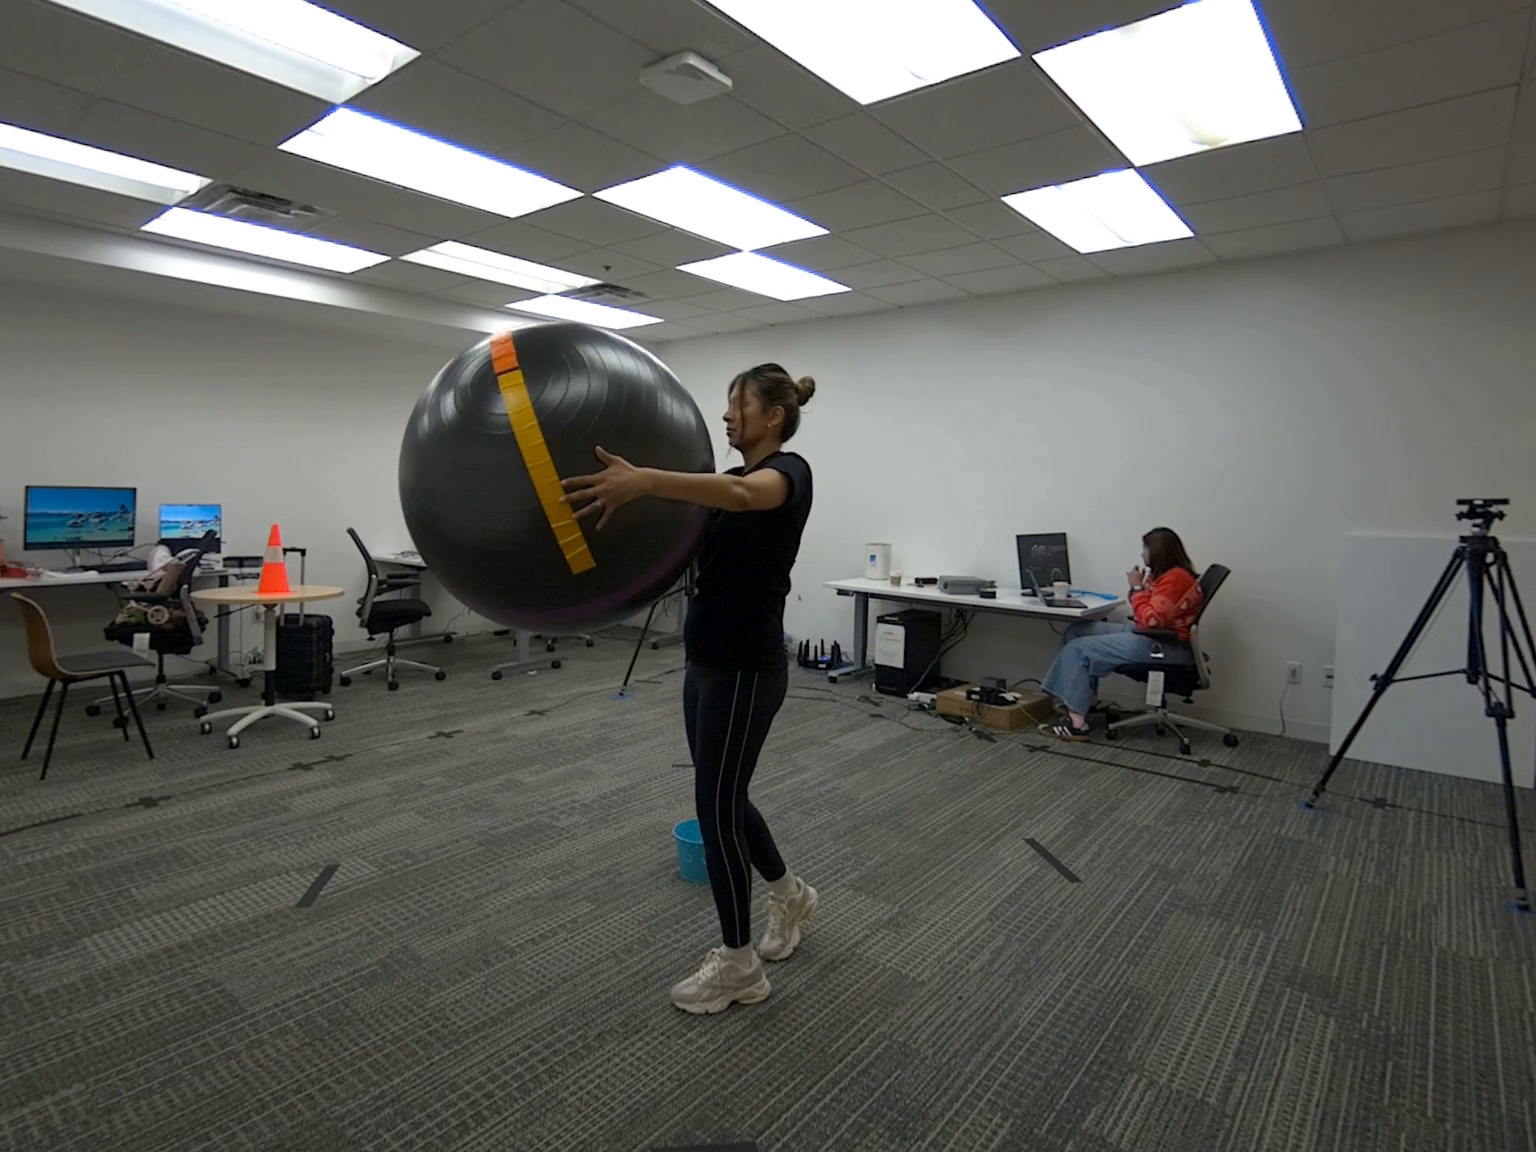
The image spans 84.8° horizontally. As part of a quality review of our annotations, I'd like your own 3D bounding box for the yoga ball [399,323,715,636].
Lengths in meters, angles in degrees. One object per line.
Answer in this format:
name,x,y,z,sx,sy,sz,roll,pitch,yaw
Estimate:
yoga ball,-0.515,-0.231,2.073,0.757,0.756,0.761,1,4,-2
